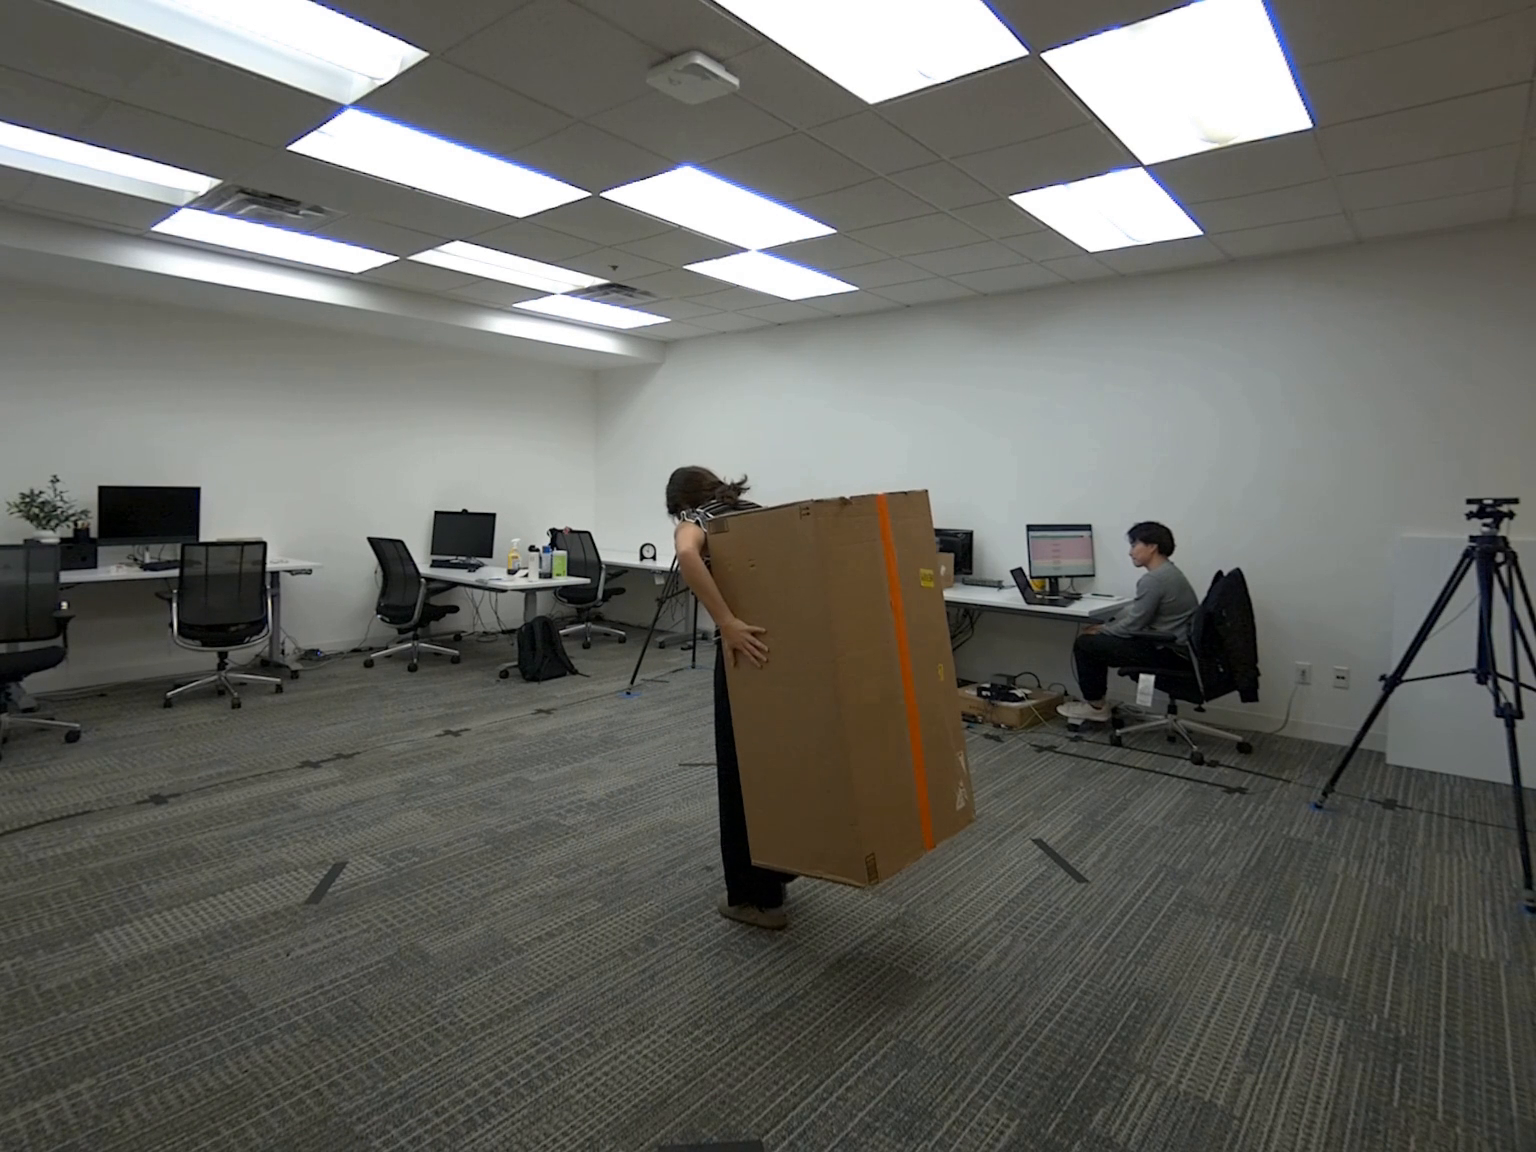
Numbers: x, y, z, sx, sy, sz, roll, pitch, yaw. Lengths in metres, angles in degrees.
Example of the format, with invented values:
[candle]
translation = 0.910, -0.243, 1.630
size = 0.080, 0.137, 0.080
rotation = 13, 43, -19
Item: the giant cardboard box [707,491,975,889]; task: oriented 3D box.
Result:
[giant cardboard box]
translation = 0.222, 0.290, 2.541
size = 0.438, 1.027, 0.561
rotation = -8, -1, 43
